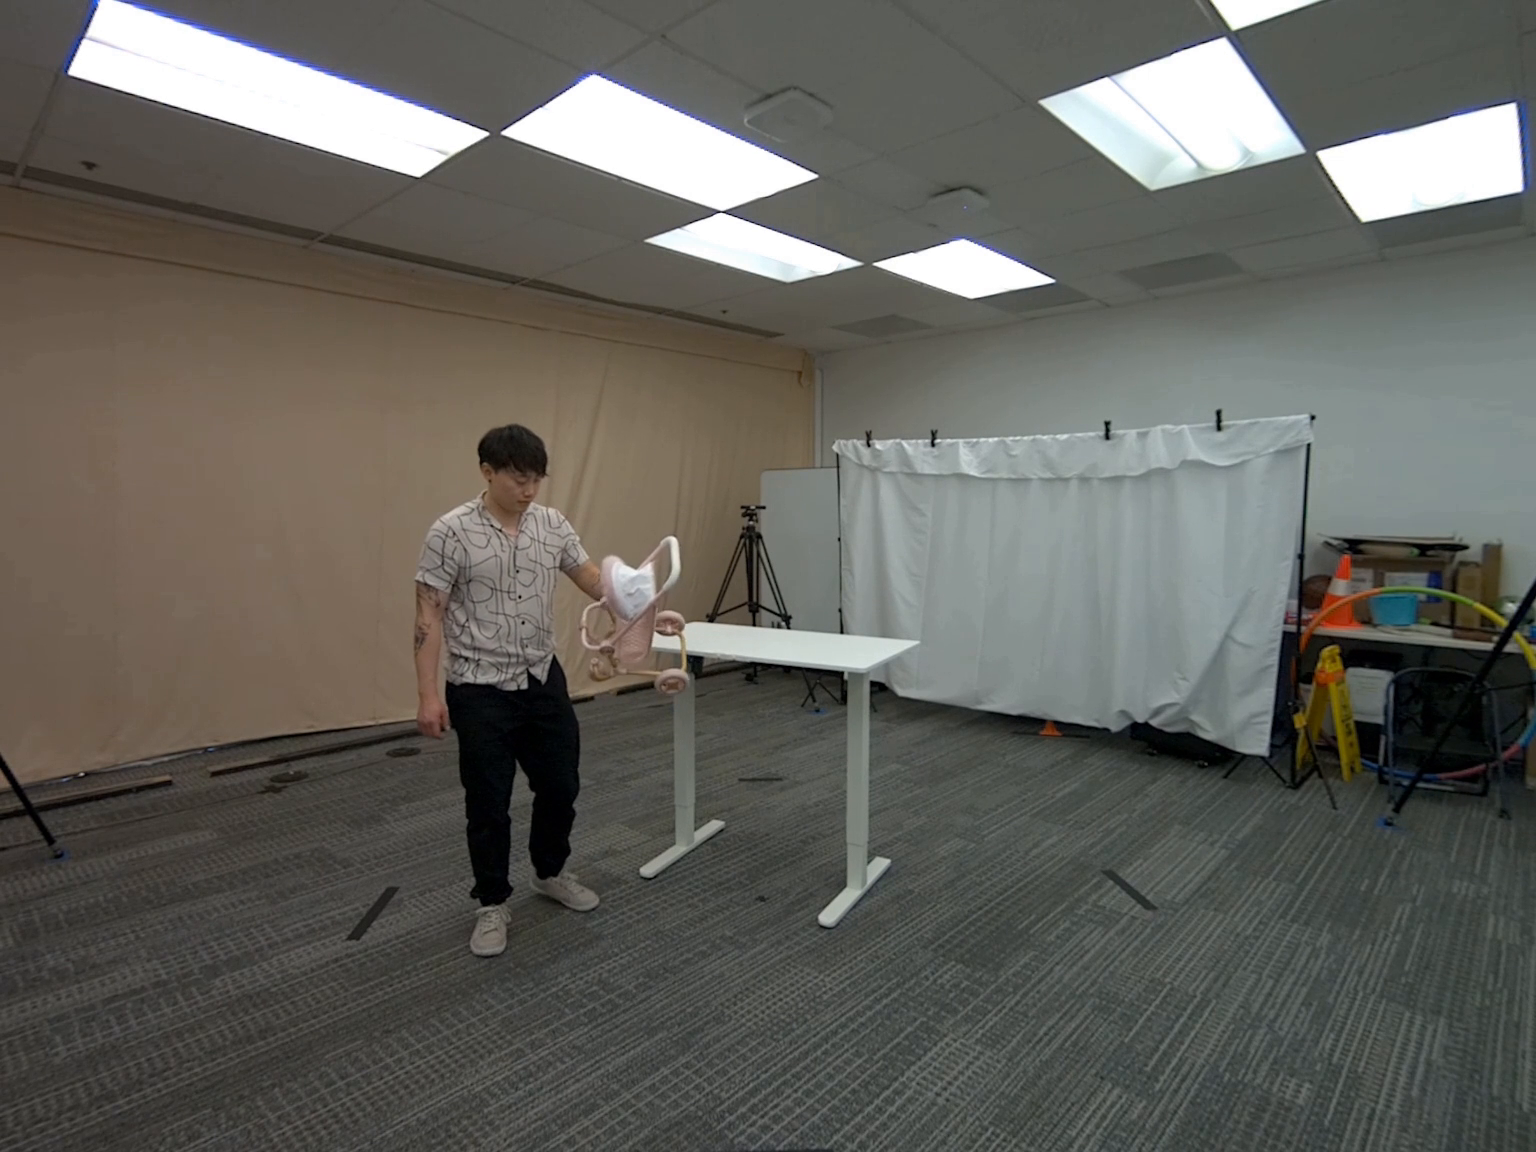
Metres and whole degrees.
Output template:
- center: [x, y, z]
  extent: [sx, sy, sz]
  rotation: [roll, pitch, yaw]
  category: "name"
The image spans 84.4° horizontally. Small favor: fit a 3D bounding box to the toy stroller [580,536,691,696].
- center: [-0.421, 0.138, 2.580]
  extent: [0.341, 0.524, 0.287]
  rotation: [-2, 42, -1]
  category: "toy stroller"
